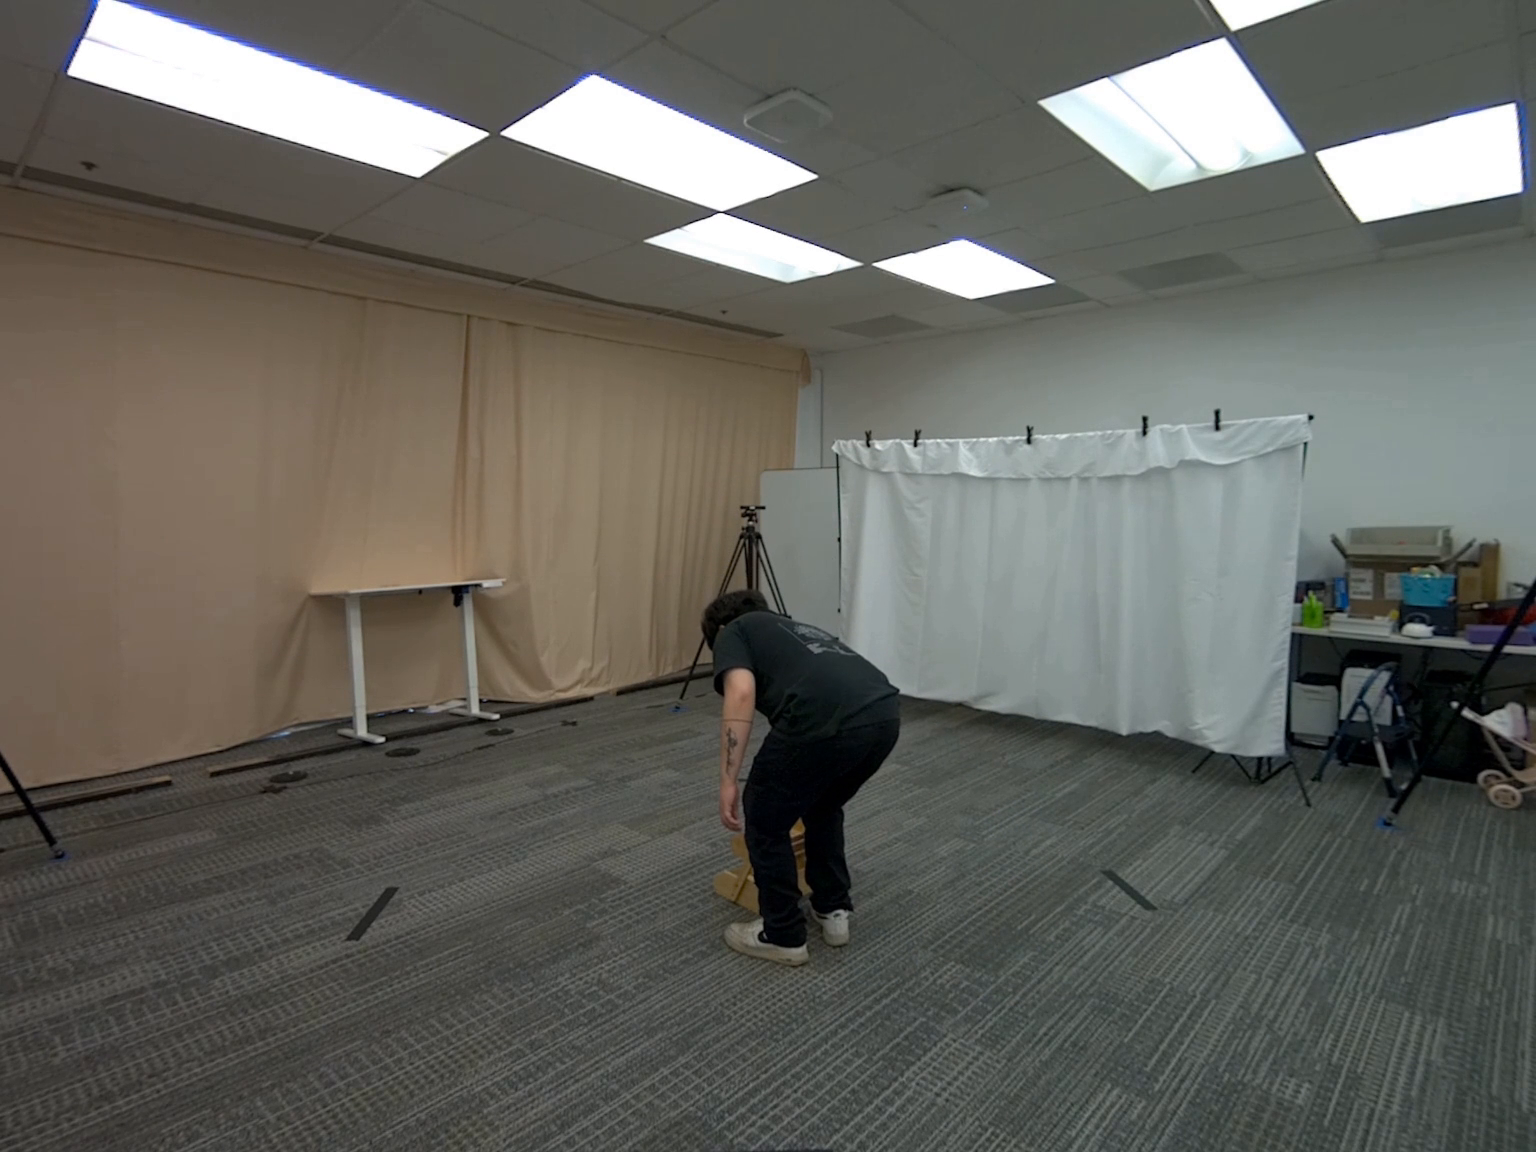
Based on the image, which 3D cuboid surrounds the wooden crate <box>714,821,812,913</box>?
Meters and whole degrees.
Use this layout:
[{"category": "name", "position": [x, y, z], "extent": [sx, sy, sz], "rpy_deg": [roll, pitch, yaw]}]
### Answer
[{"category": "wooden crate", "position": [0.016, 1.008, 3.030], "extent": [0.314, 0.273, 0.312], "rpy_deg": [-2, 5, -43]}]
